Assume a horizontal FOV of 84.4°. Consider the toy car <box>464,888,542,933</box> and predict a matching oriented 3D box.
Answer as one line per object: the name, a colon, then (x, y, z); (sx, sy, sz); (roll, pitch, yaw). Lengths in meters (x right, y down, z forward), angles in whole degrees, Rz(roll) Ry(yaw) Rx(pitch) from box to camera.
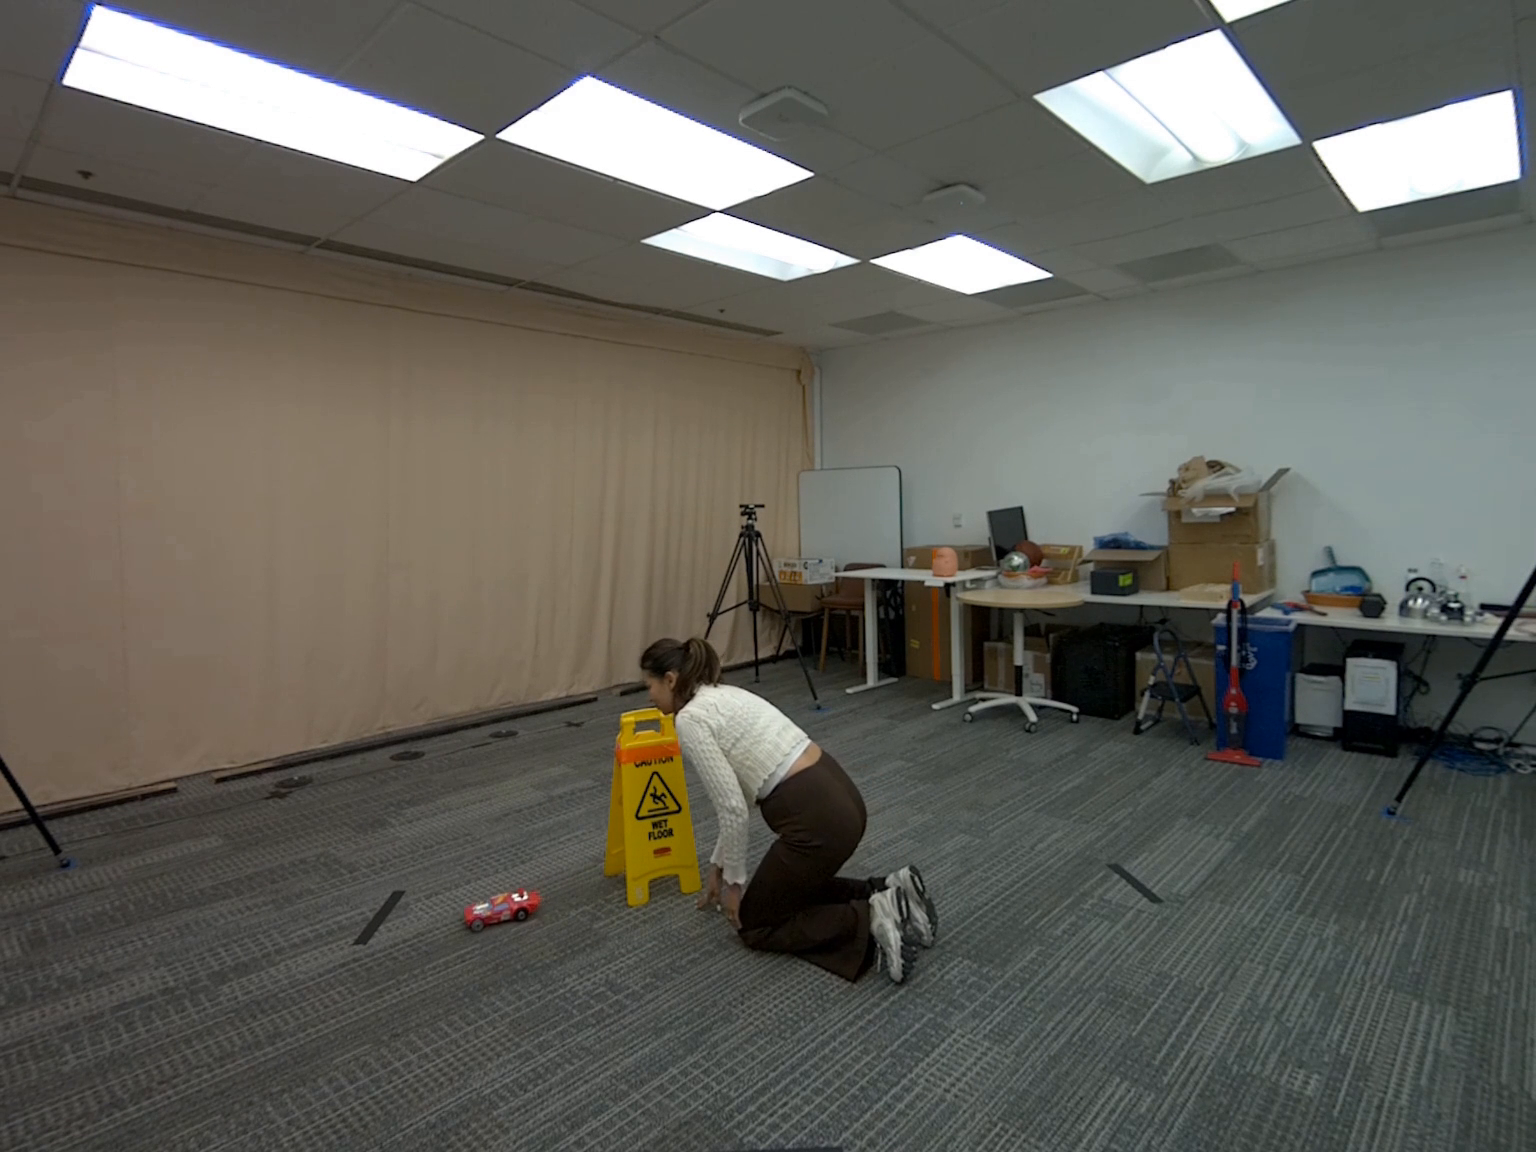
toy car: (-0.897, 1.142, 2.880); (0.250, 0.083, 0.133); (-15, 9, -23)
